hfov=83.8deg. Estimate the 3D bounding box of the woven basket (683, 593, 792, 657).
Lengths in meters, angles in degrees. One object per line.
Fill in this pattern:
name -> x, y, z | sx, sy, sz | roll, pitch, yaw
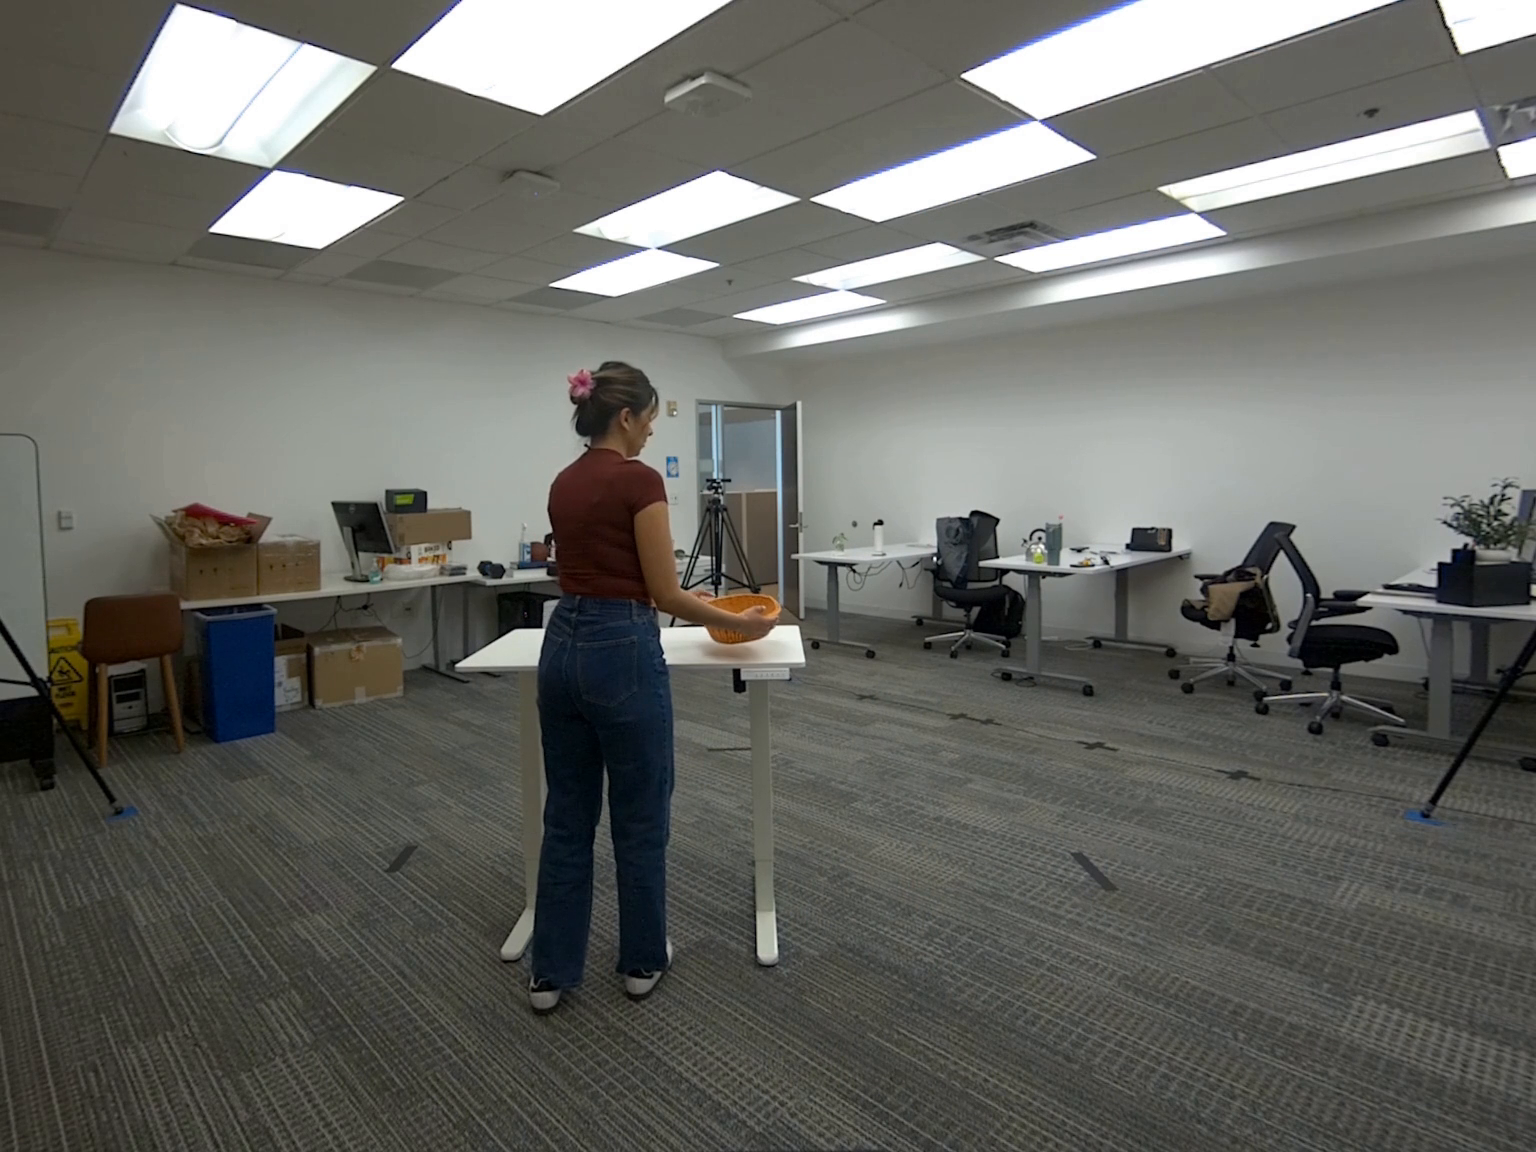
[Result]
woven basket -> -0.105, 0.139, 2.561 | 0.250, 0.073, 0.357 | -8, 12, -12
